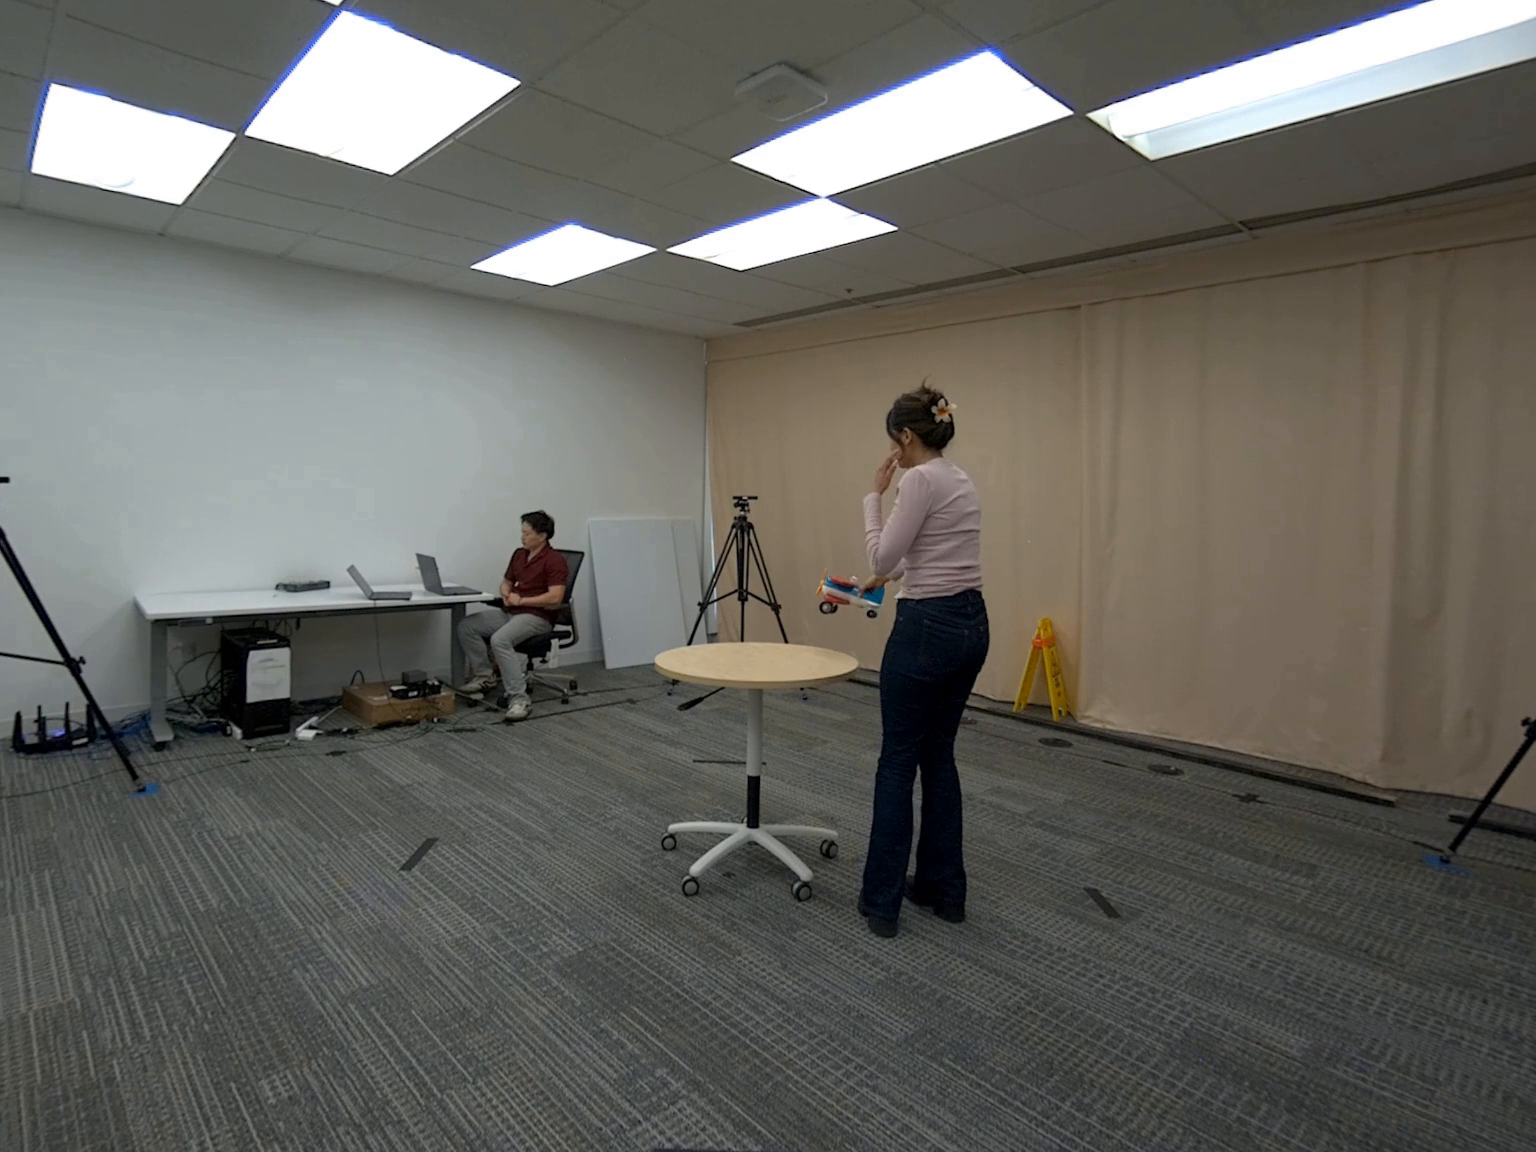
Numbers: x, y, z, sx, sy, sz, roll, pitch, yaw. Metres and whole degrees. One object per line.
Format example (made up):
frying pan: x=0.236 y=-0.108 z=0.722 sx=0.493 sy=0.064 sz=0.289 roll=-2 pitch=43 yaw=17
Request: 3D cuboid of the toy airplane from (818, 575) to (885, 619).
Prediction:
toy airplane: x=0.328 y=0.083 z=3.380 sx=0.257 sy=0.156 sz=0.253 roll=6 pitch=0 yaw=-9
